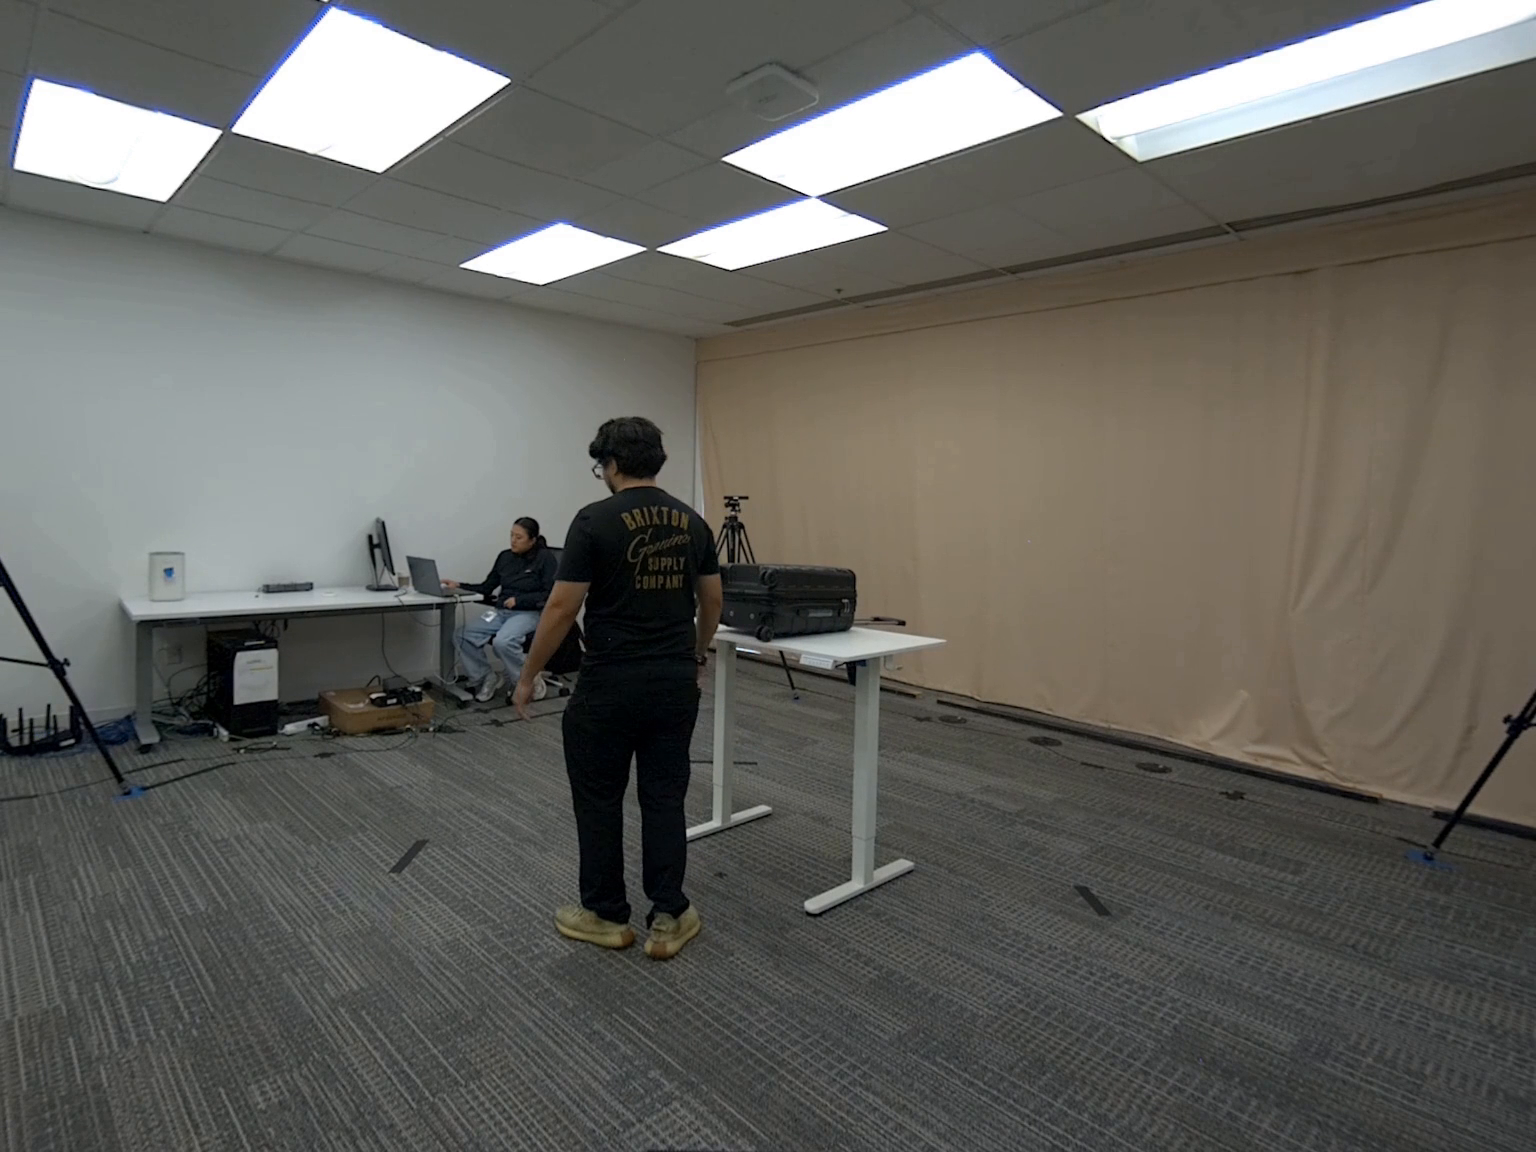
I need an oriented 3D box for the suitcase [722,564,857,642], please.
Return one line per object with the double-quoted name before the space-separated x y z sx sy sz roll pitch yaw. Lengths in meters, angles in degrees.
"suitcase" 0.207 0.087 3.376 0.955 0.257 0.393 -1 3 -44
